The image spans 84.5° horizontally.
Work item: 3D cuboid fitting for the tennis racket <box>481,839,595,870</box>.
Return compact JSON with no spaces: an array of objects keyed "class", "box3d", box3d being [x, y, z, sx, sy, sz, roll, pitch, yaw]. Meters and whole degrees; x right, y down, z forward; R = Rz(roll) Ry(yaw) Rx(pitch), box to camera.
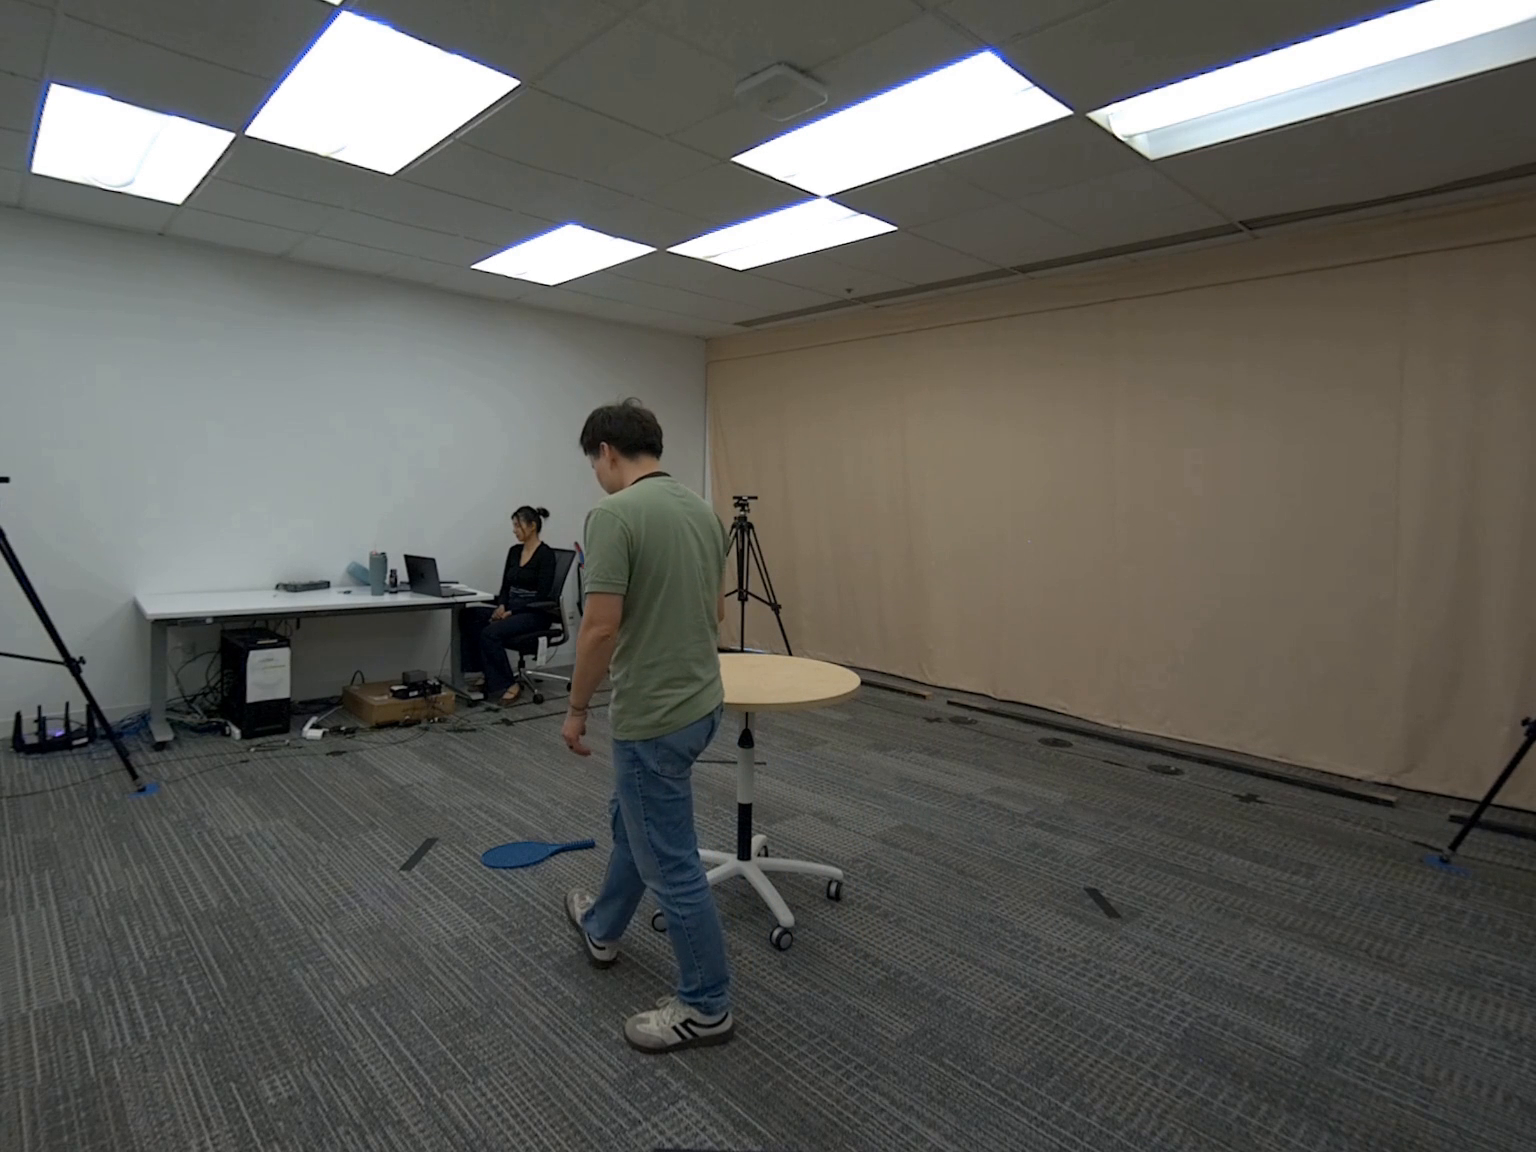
[{"class":"tennis racket","box3d":[-0.886,1.058,3.246,0.426,0.031,0.218,-2,6,-23]}]
